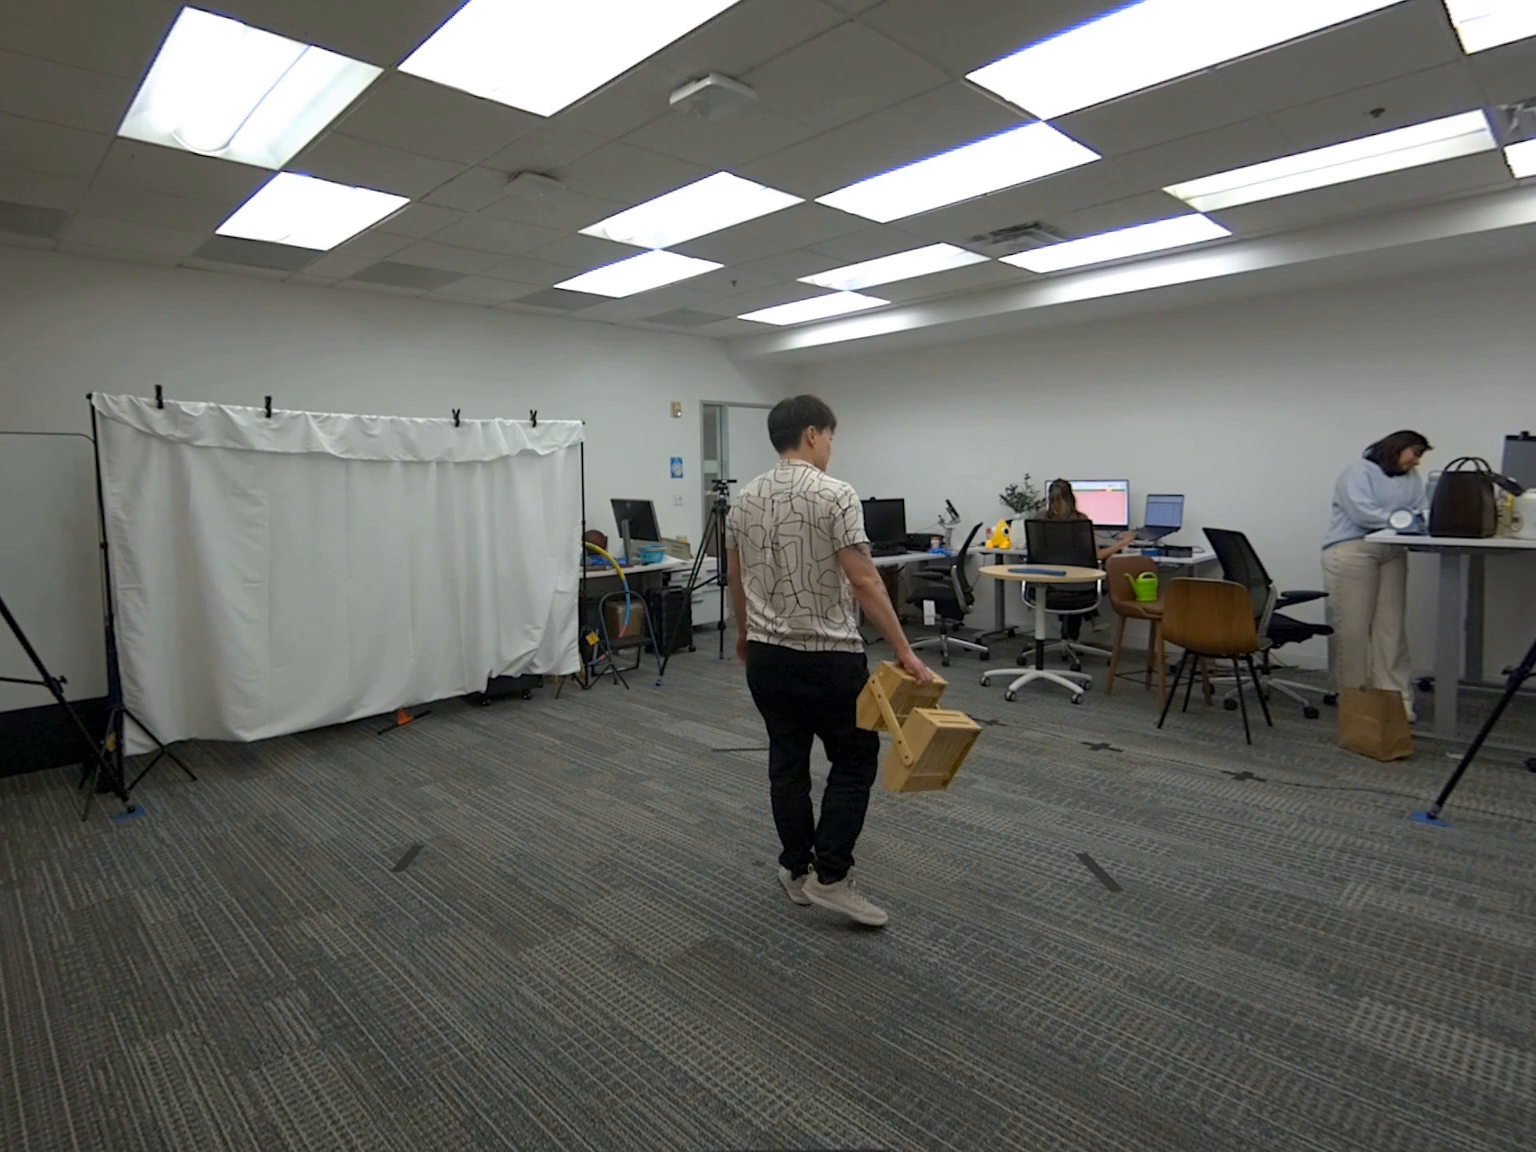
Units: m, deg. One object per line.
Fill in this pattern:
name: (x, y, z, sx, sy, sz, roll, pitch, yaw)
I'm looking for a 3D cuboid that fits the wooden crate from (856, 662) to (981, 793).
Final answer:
wooden crate: (0.434, 0.468, 2.614, 0.313, 0.301, 0.284, 16, 18, -49)
